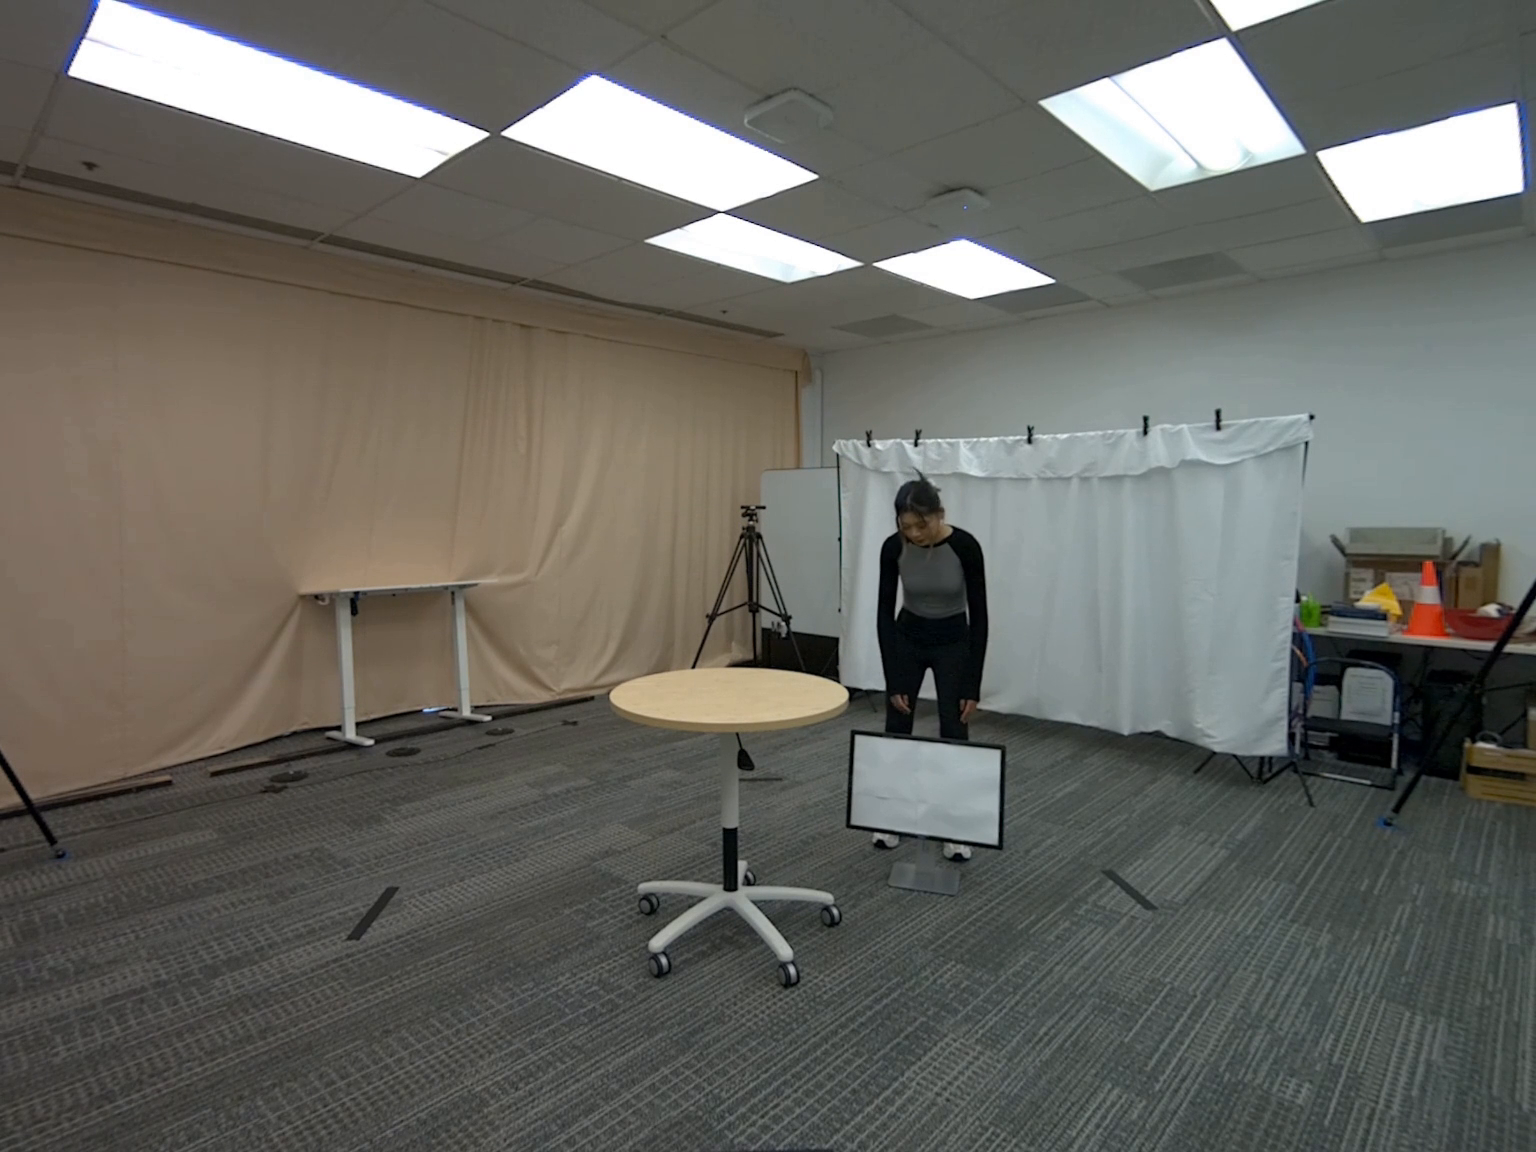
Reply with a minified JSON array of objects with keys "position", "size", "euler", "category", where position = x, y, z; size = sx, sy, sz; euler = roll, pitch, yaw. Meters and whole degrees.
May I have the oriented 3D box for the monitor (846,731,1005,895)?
[{"position":[0.587,0.865,3.116],"size":[0.550,0.521,0.184],"euler":[2,4,18],"category":"monitor"}]
